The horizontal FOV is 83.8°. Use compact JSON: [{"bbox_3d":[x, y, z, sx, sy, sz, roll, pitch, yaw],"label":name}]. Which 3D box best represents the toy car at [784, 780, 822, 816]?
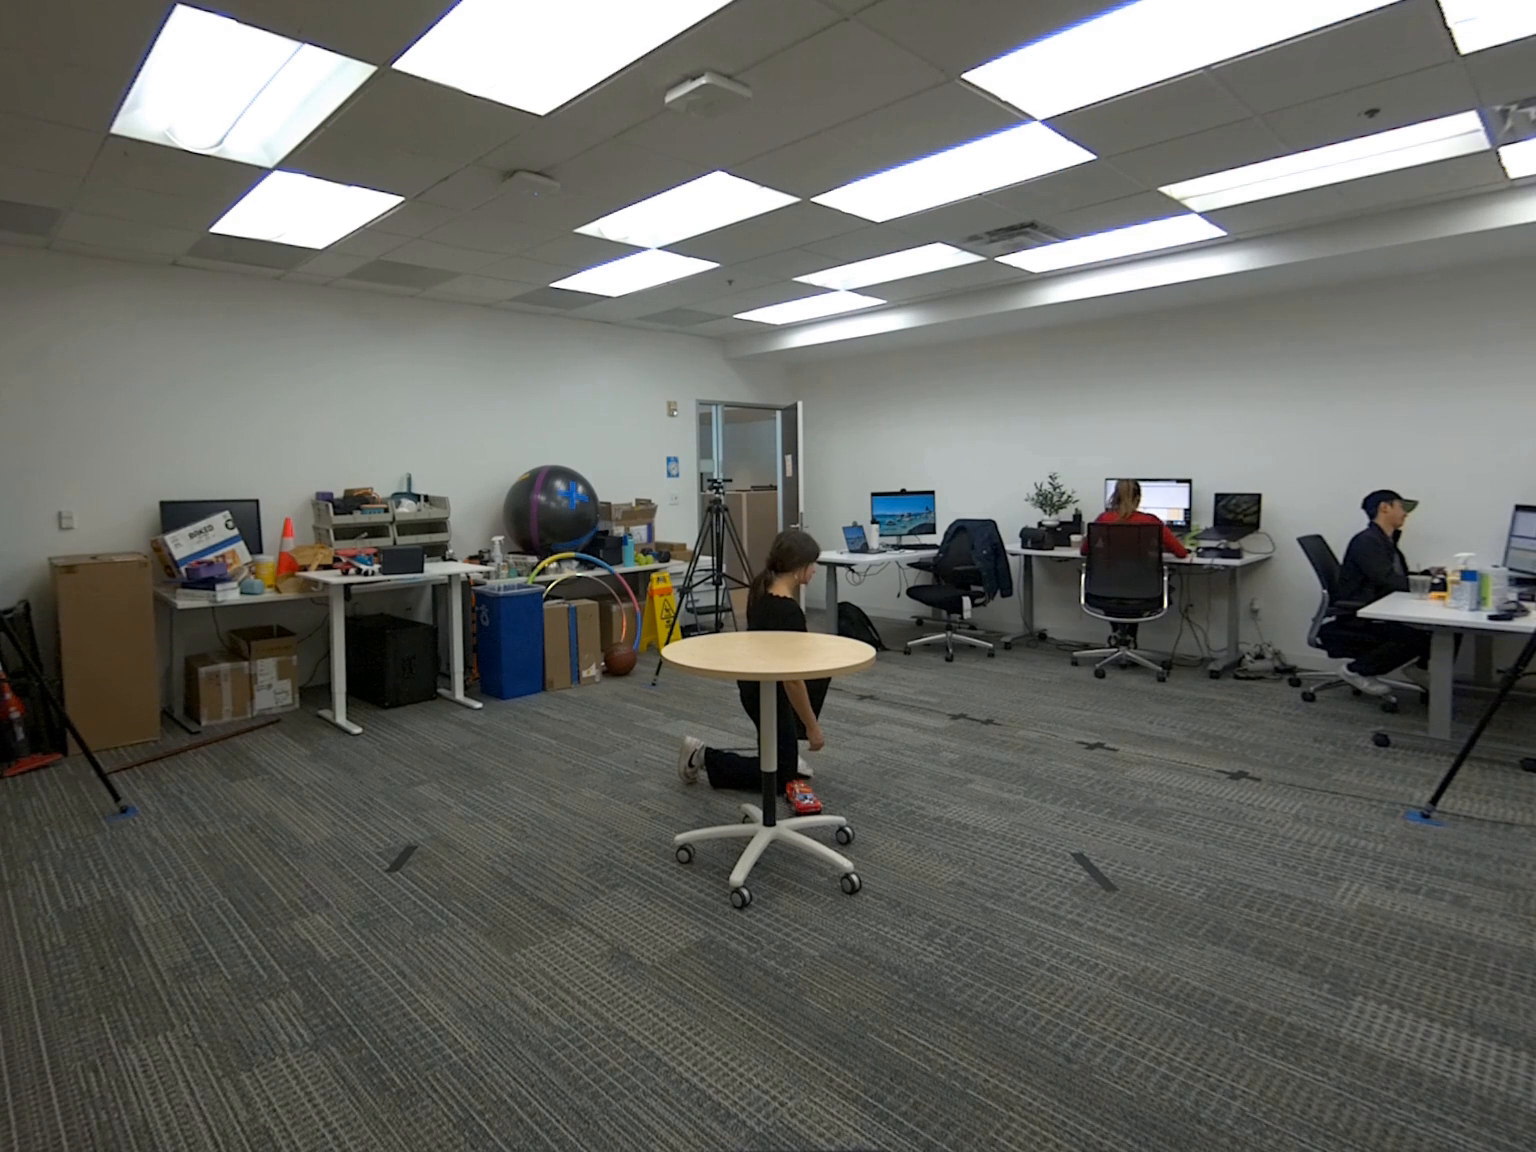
[{"bbox_3d":[0.149,0.954,3.655,0.129,0.082,0.260,-2,18,-10],"label":"toy car"}]
